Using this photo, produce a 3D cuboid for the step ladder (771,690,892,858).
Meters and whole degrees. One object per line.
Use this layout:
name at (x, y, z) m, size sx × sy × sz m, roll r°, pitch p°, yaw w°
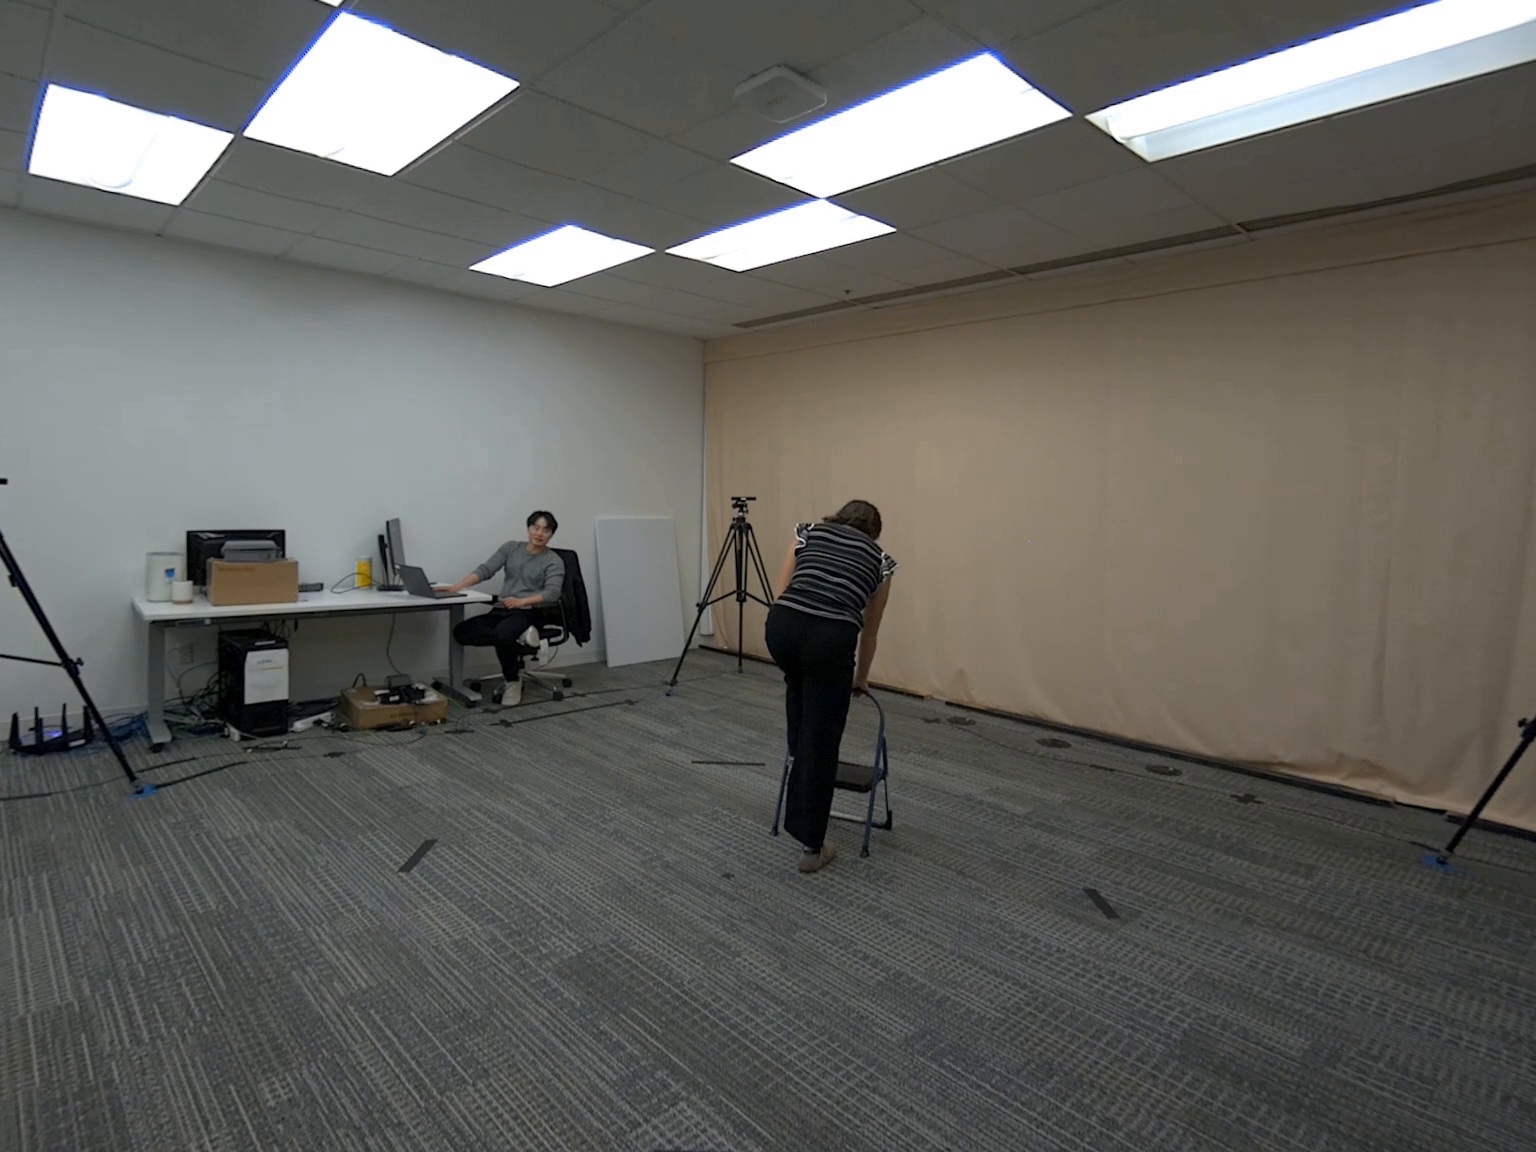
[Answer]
step ladder at (0.276, 0.777, 3.534) m, size 0.439 × 0.605 × 0.343 m, roll 3°, pitch 3°, yaw 28°
